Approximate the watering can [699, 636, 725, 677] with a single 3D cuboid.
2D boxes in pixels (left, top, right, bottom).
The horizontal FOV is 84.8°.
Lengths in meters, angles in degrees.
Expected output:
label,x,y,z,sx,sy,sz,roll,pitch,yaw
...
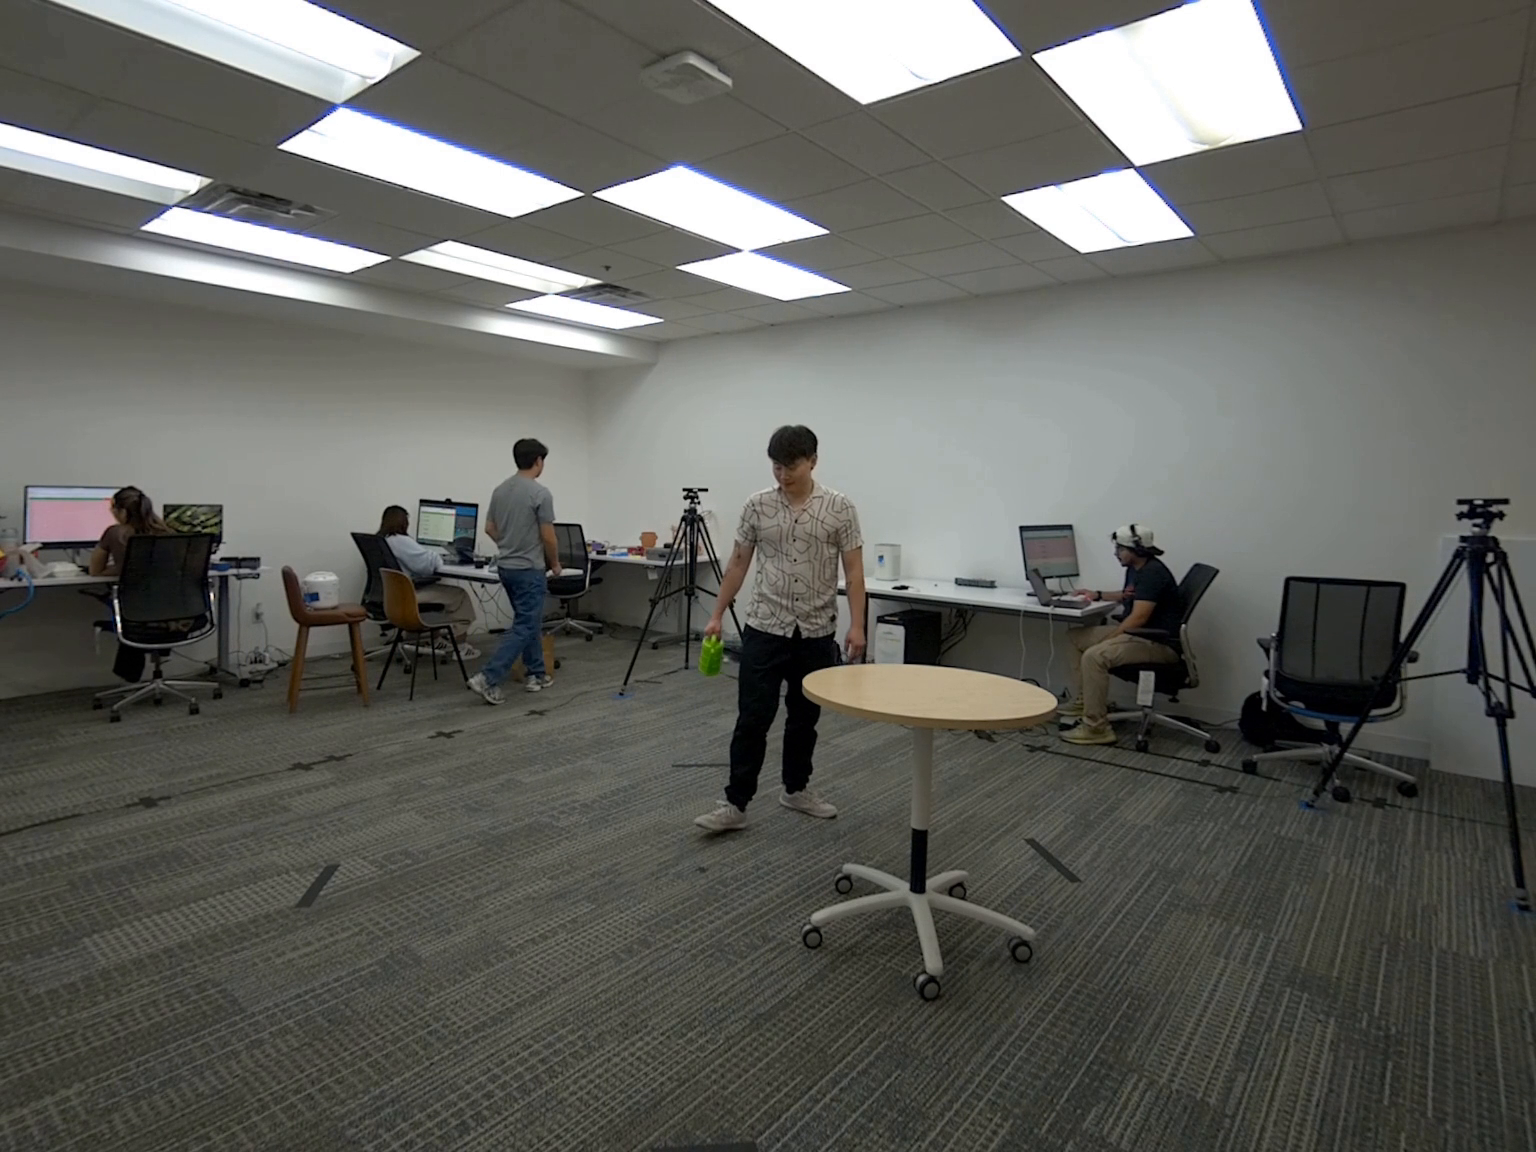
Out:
label,x,y,z,sx,sy,sz,roll,pitch,yaw
watering can,-0.265,0.333,3.601,0.099,0.174,0.278,9,18,9
